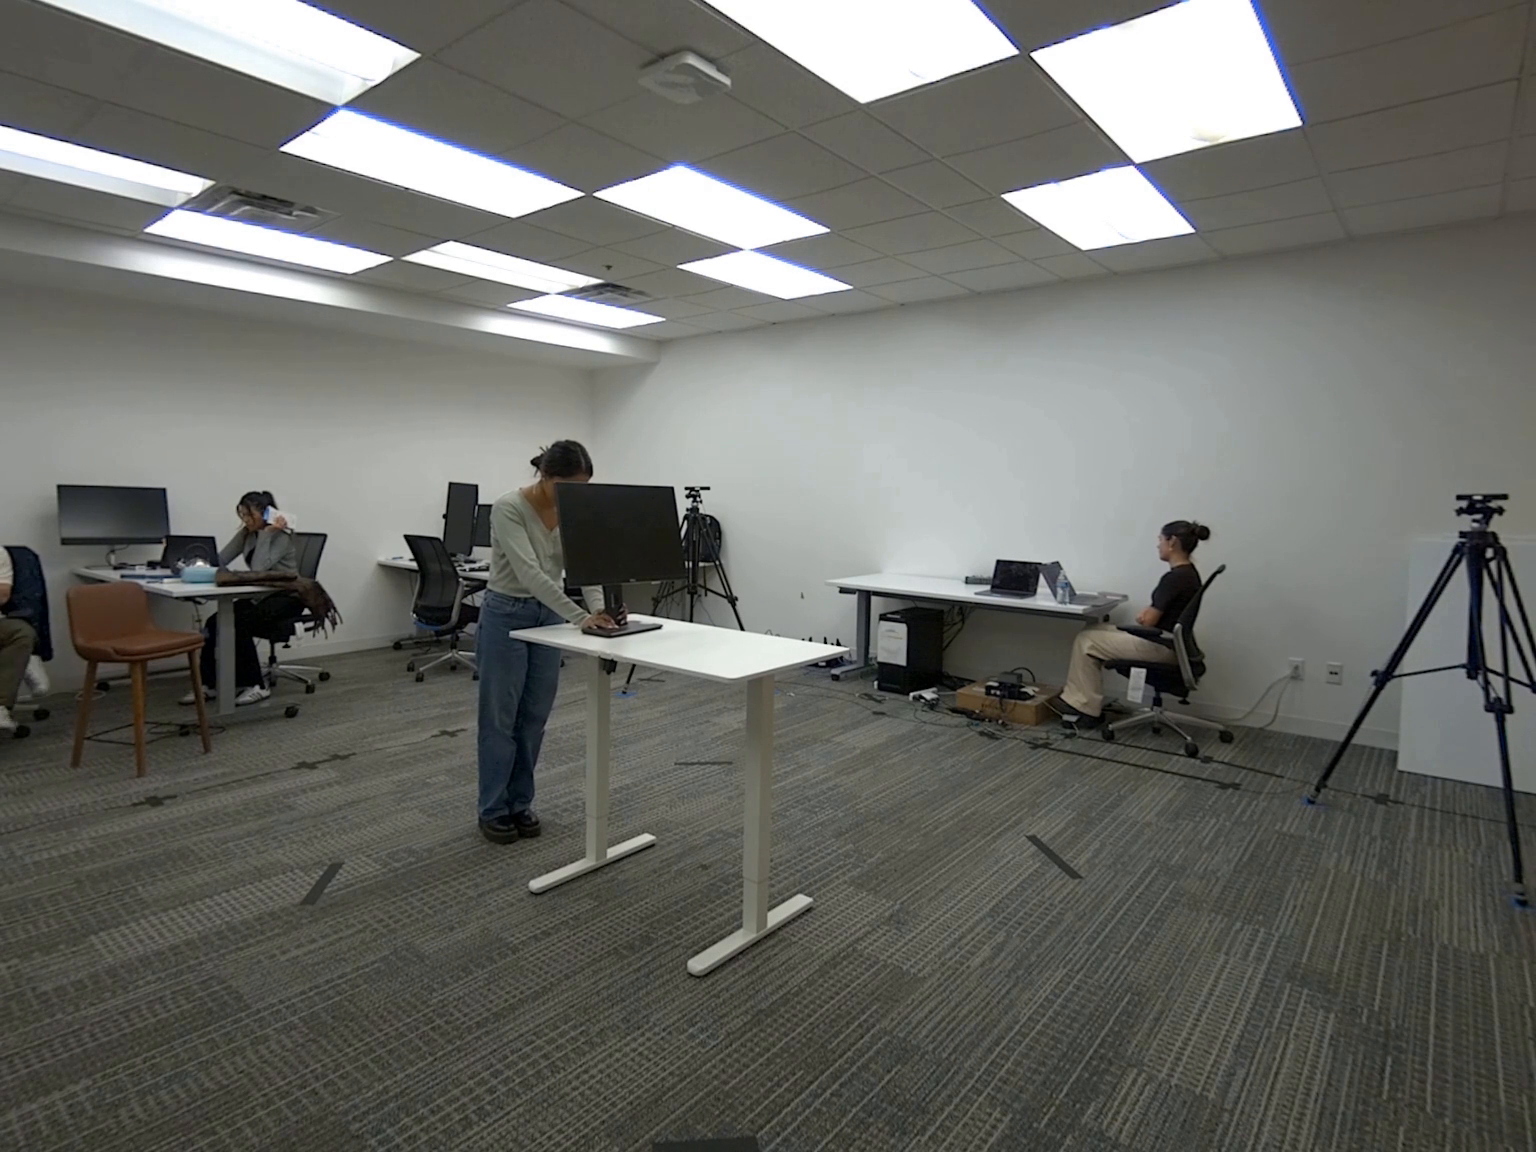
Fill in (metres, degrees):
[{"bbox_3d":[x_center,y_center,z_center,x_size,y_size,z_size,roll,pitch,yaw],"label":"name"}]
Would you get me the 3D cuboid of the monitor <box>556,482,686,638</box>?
[{"bbox_3d":[-0.535,-0.064,2.980,0.193,0.522,0.523,2,3,40],"label":"monitor"}]
